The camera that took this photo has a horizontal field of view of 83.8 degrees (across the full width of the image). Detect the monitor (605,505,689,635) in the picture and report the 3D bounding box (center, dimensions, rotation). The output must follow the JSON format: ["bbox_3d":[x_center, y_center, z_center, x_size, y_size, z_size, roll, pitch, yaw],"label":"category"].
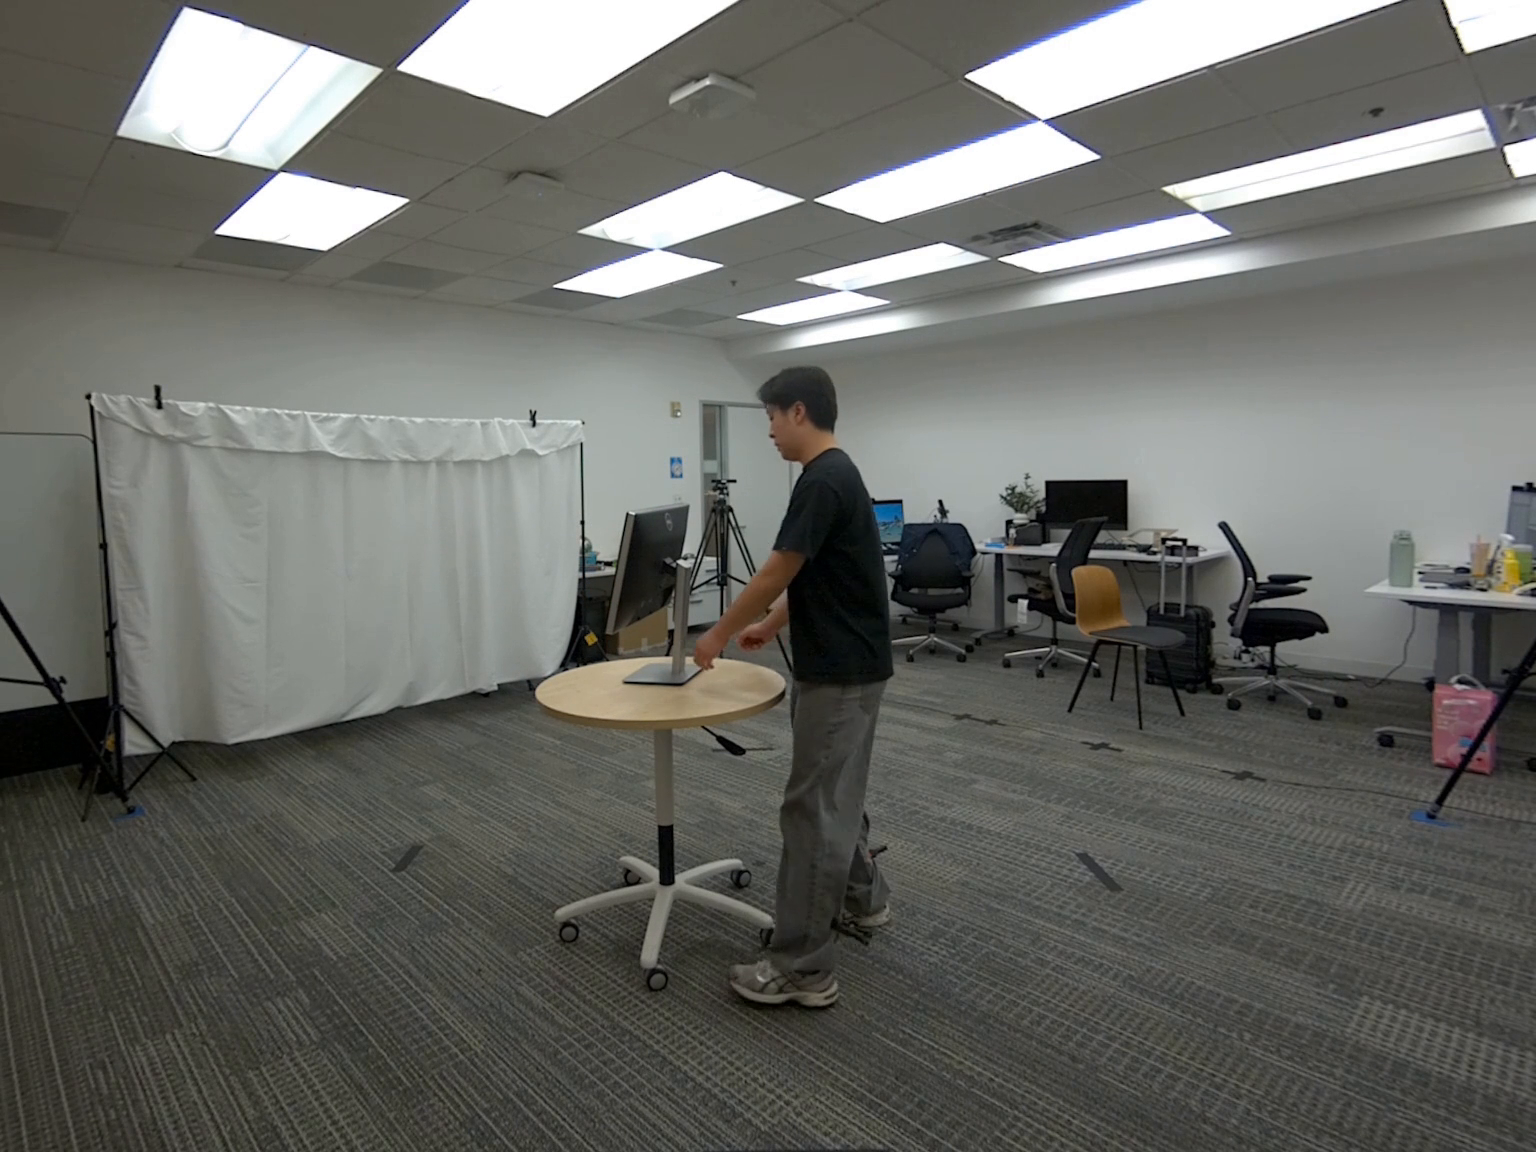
[{"bbox_3d":[-0.339,0.060,2.714,0.225,0.564,0.556,-3,5,15],"label":"monitor"}]
